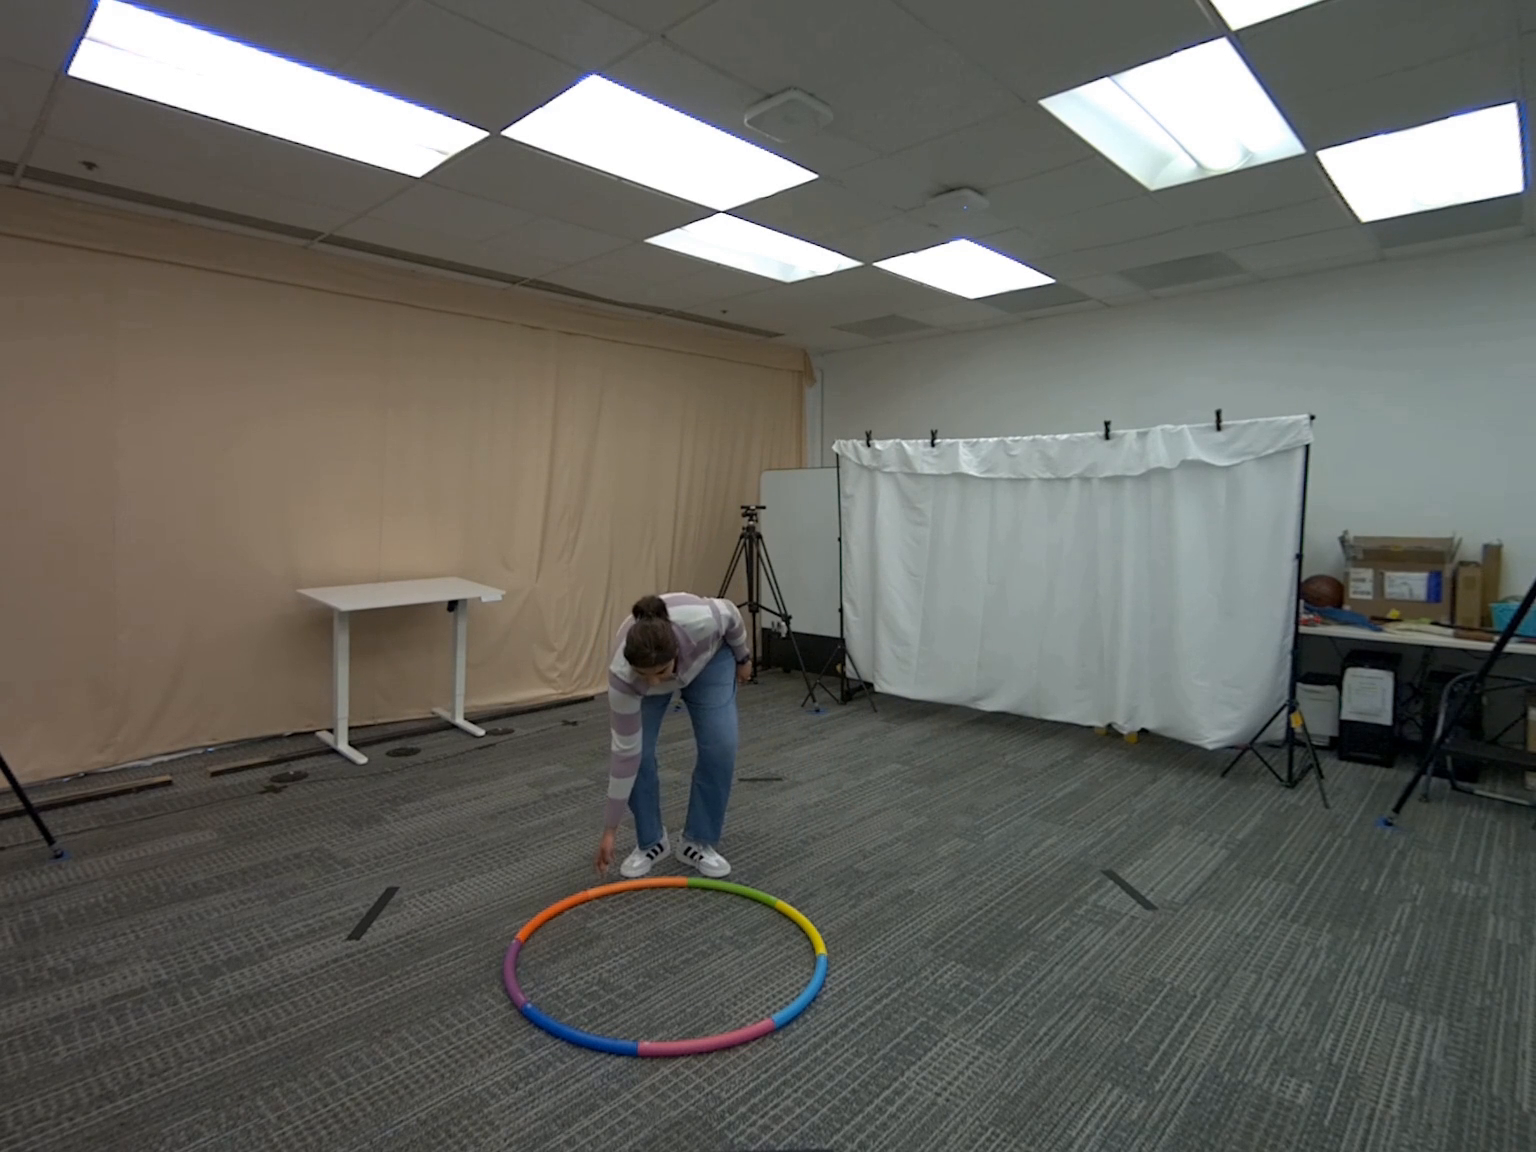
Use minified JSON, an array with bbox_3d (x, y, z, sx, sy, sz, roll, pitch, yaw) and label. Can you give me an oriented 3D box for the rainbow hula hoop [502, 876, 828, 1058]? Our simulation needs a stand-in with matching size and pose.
[{"bbox_3d":[-0.309,1.147,2.614,0.978,0.035,0.982,-1,4,-2],"label":"rainbow hula hoop"}]
